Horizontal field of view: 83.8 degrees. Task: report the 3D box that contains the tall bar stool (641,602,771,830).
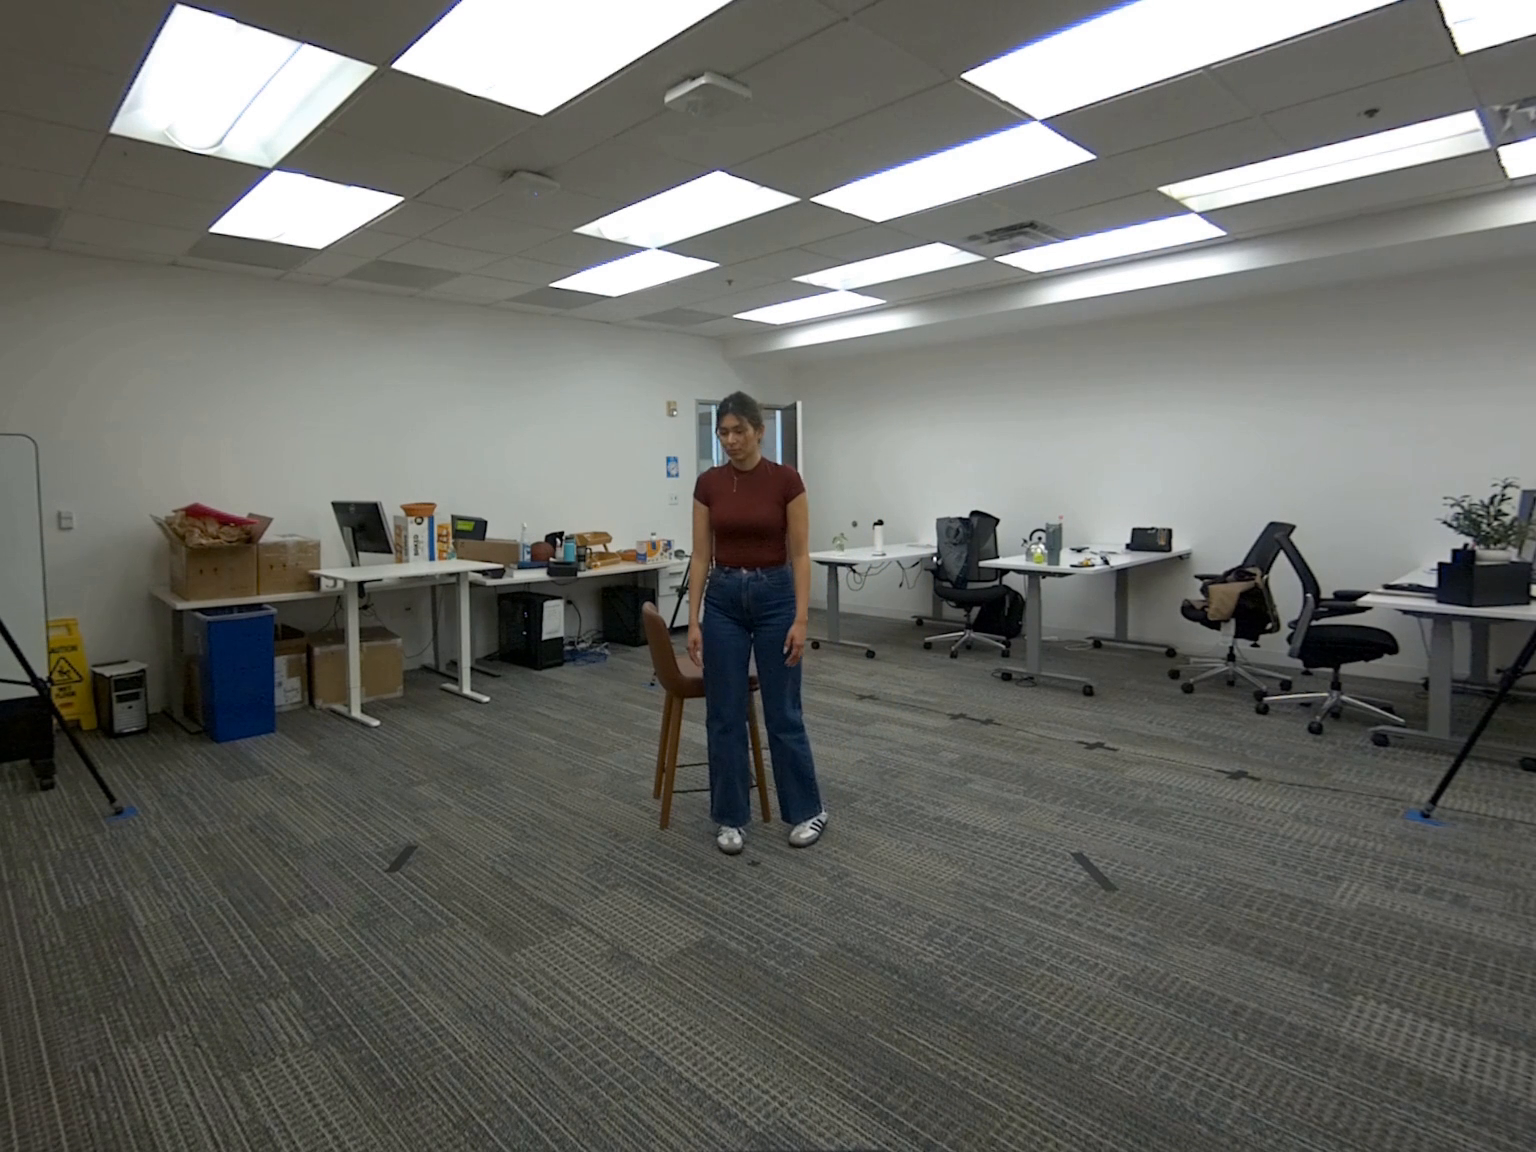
[{"bbox_3d":[-0.268,0.559,3.621,0.463,0.887,0.462,-4,3,-12],"label":"tall bar stool"}]
